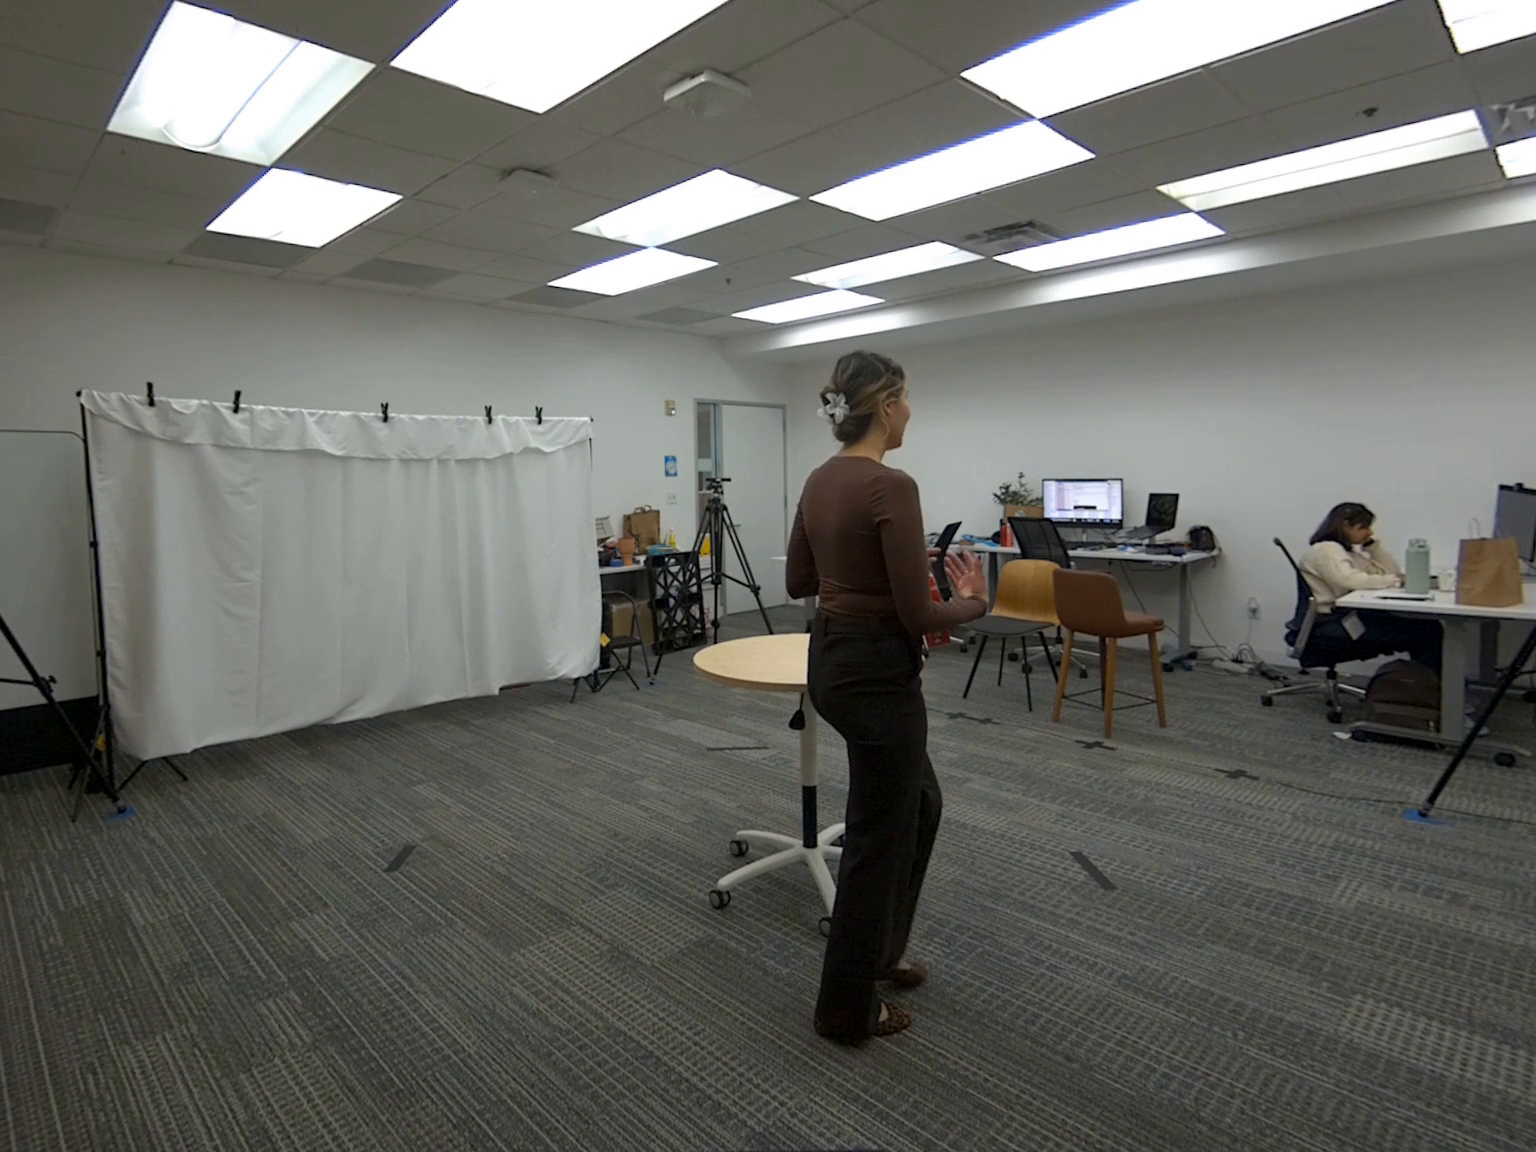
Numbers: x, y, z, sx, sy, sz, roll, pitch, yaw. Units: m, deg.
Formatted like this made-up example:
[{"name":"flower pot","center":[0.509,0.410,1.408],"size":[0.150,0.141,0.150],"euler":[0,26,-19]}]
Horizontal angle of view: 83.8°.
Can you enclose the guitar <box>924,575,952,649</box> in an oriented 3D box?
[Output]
[{"name":"guitar","center":[0.412,-0.003,2.269],"size":[0.071,0.188,0.508],"euler":[-12,28,9]}]
